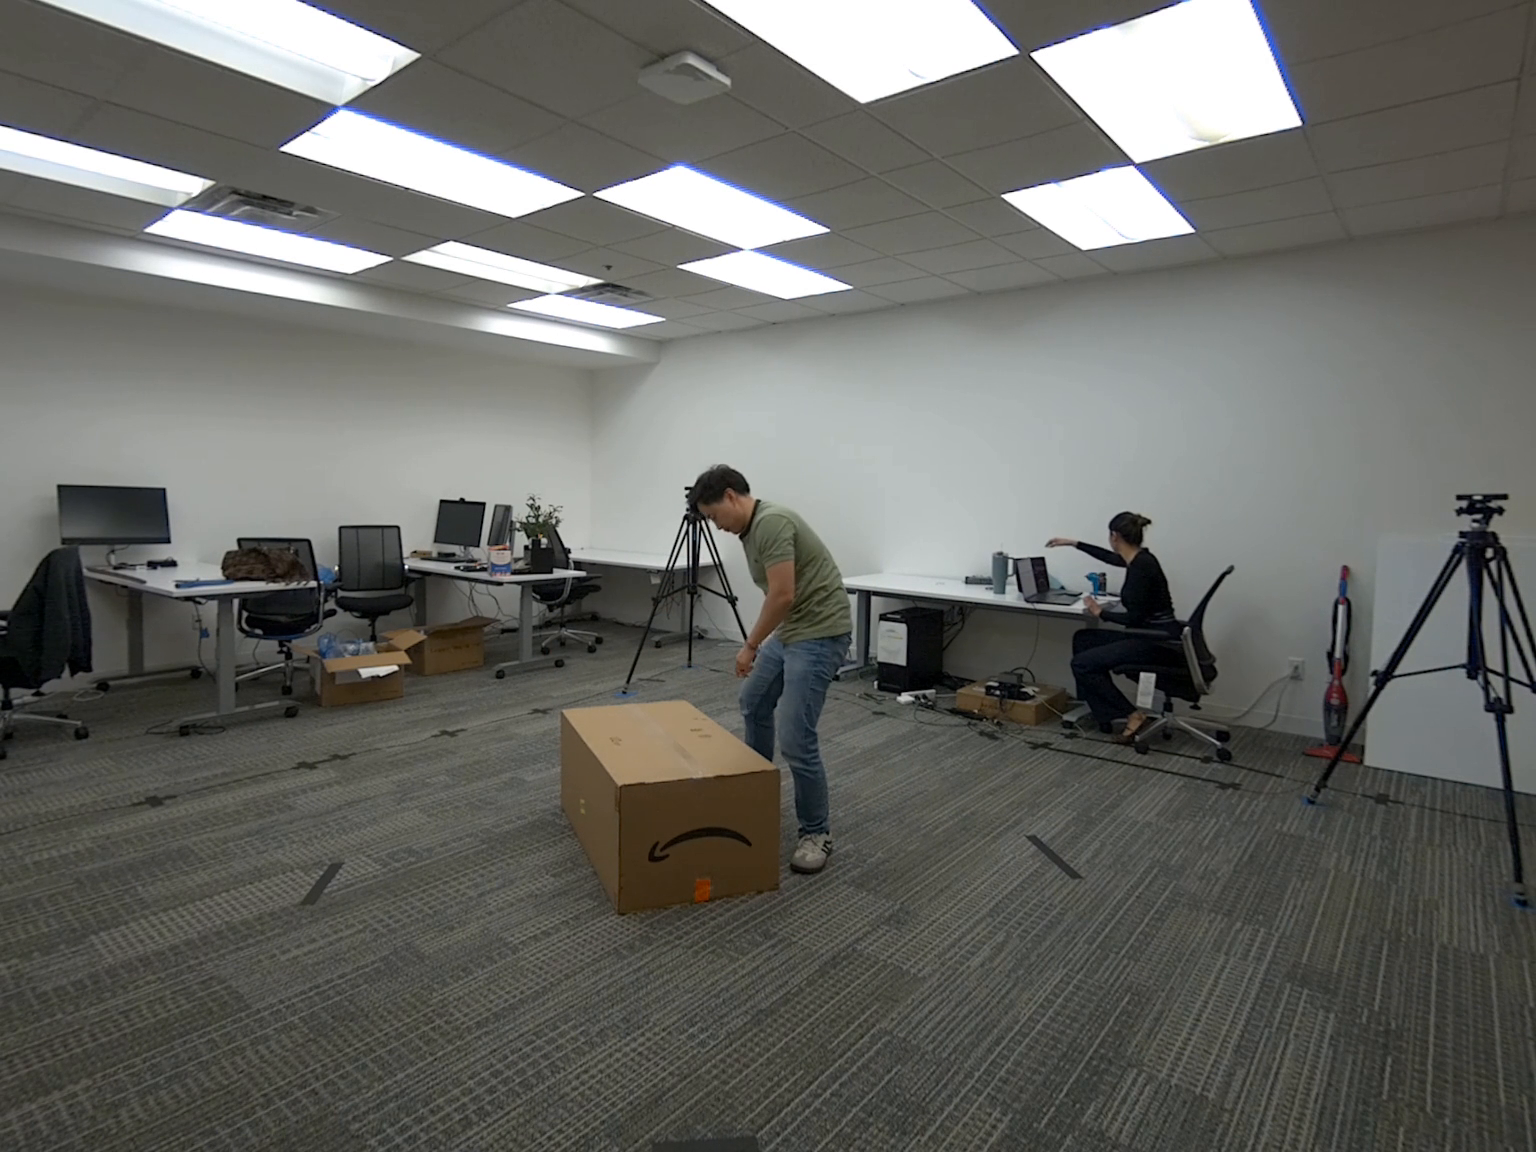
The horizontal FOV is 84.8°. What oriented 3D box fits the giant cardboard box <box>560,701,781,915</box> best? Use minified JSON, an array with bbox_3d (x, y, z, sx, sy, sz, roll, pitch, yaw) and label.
[{"bbox_3d":[-0.436,0.827,3.308,0.565,0.425,1.052,-1,5,-23],"label":"giant cardboard box"}]
